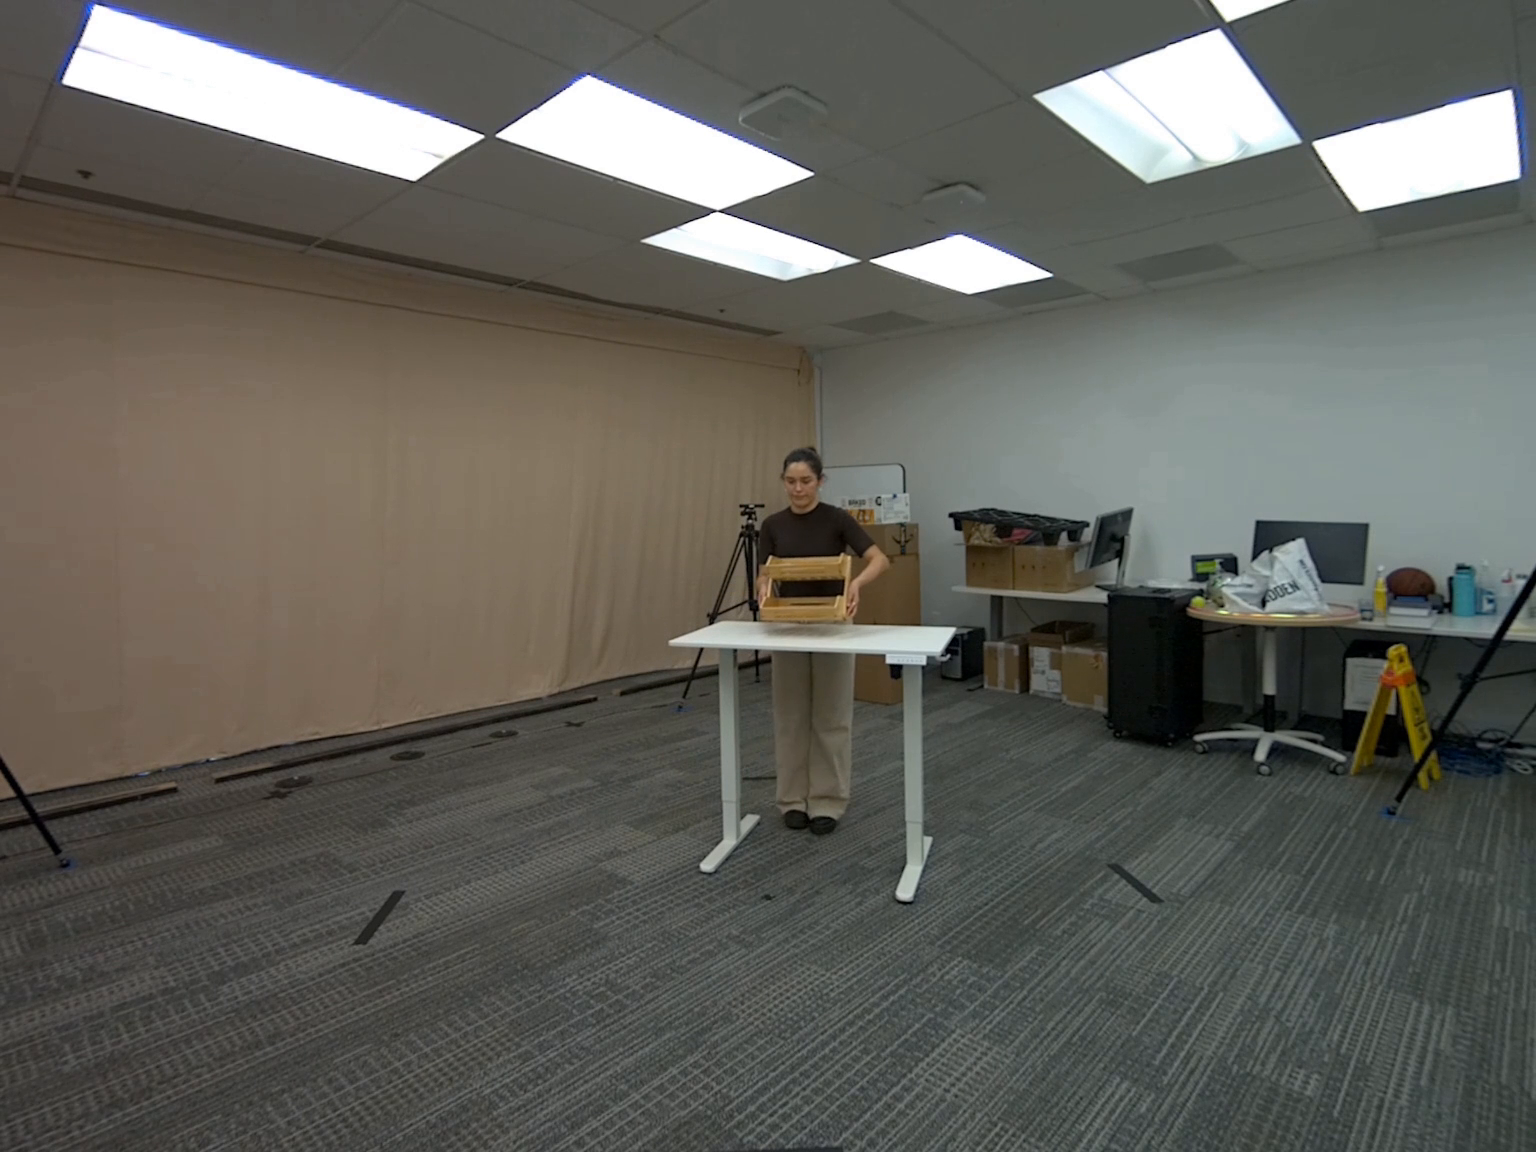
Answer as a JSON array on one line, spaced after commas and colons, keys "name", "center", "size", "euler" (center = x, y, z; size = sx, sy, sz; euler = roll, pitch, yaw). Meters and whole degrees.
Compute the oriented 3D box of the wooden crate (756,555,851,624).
[{"name": "wooden crate", "center": [0.155, 0.042, 3.343], "size": [0.331, 0.274, 0.295], "euler": [-1, -5, 18]}]
